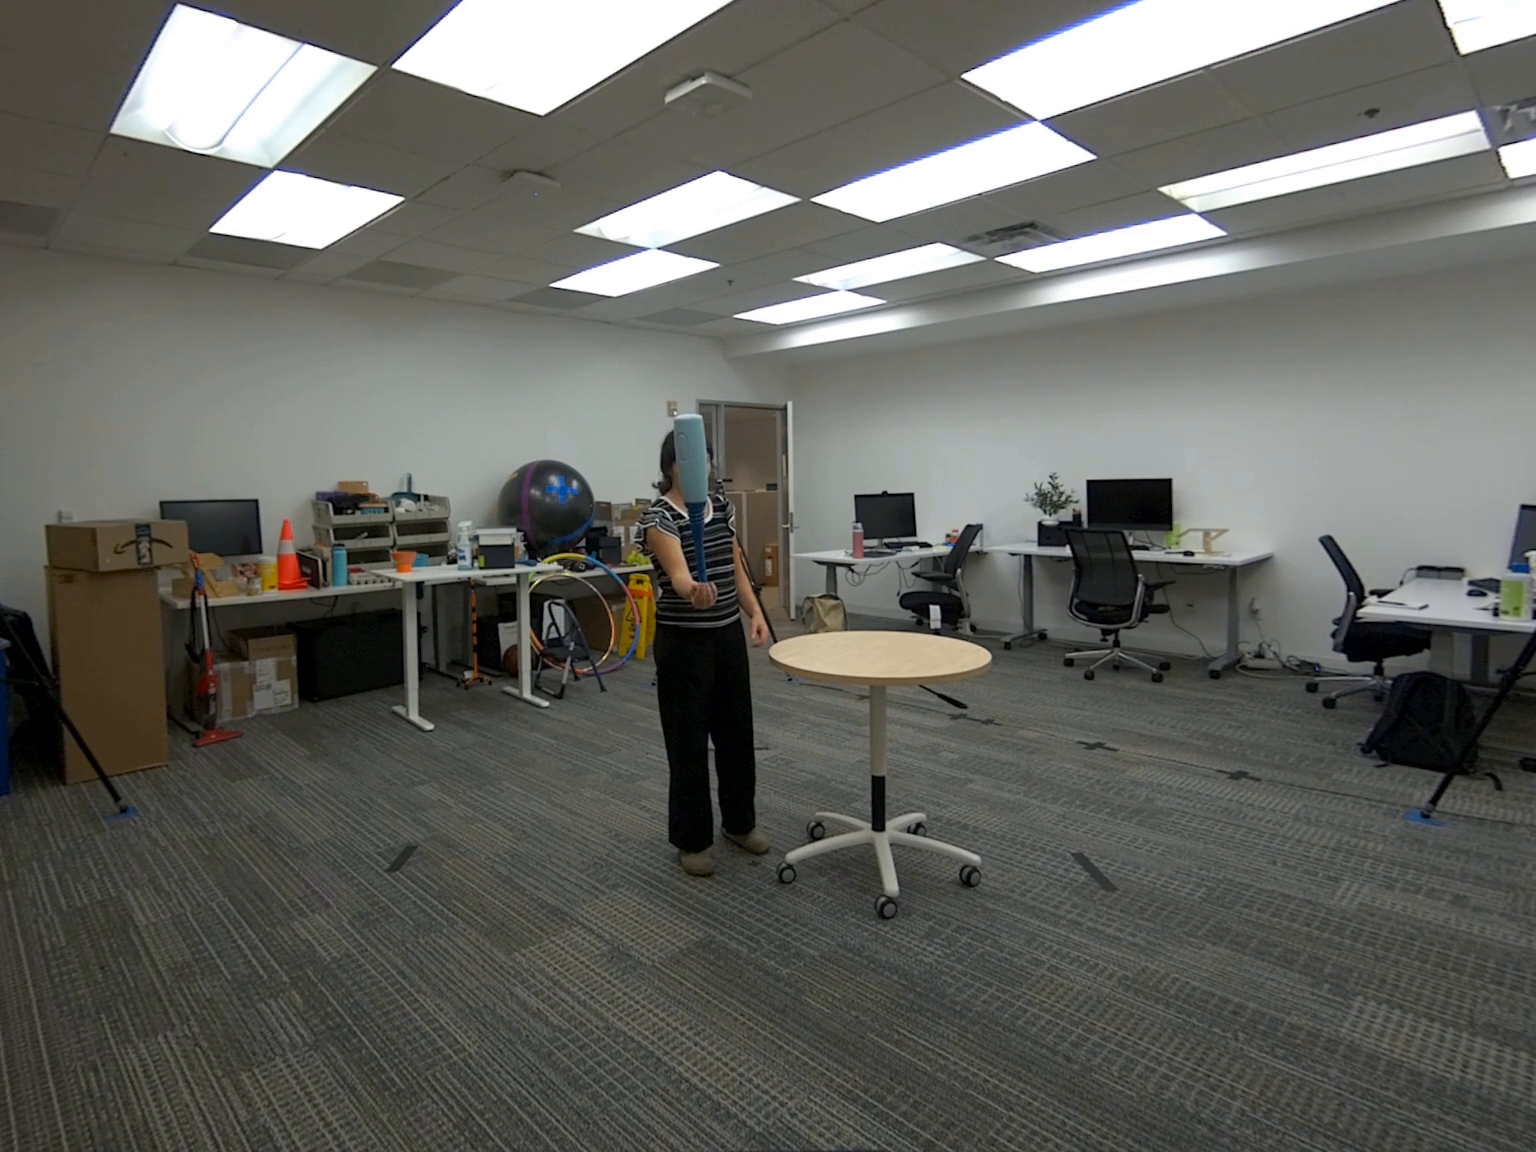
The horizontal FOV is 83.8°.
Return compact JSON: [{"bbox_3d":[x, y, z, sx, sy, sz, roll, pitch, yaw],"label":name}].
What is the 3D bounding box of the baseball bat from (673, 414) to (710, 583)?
[{"bbox_3d":[-0.219,-0.197,2.501,0.089,0.537,0.090,-5,11,-1],"label":"baseball bat"}]
